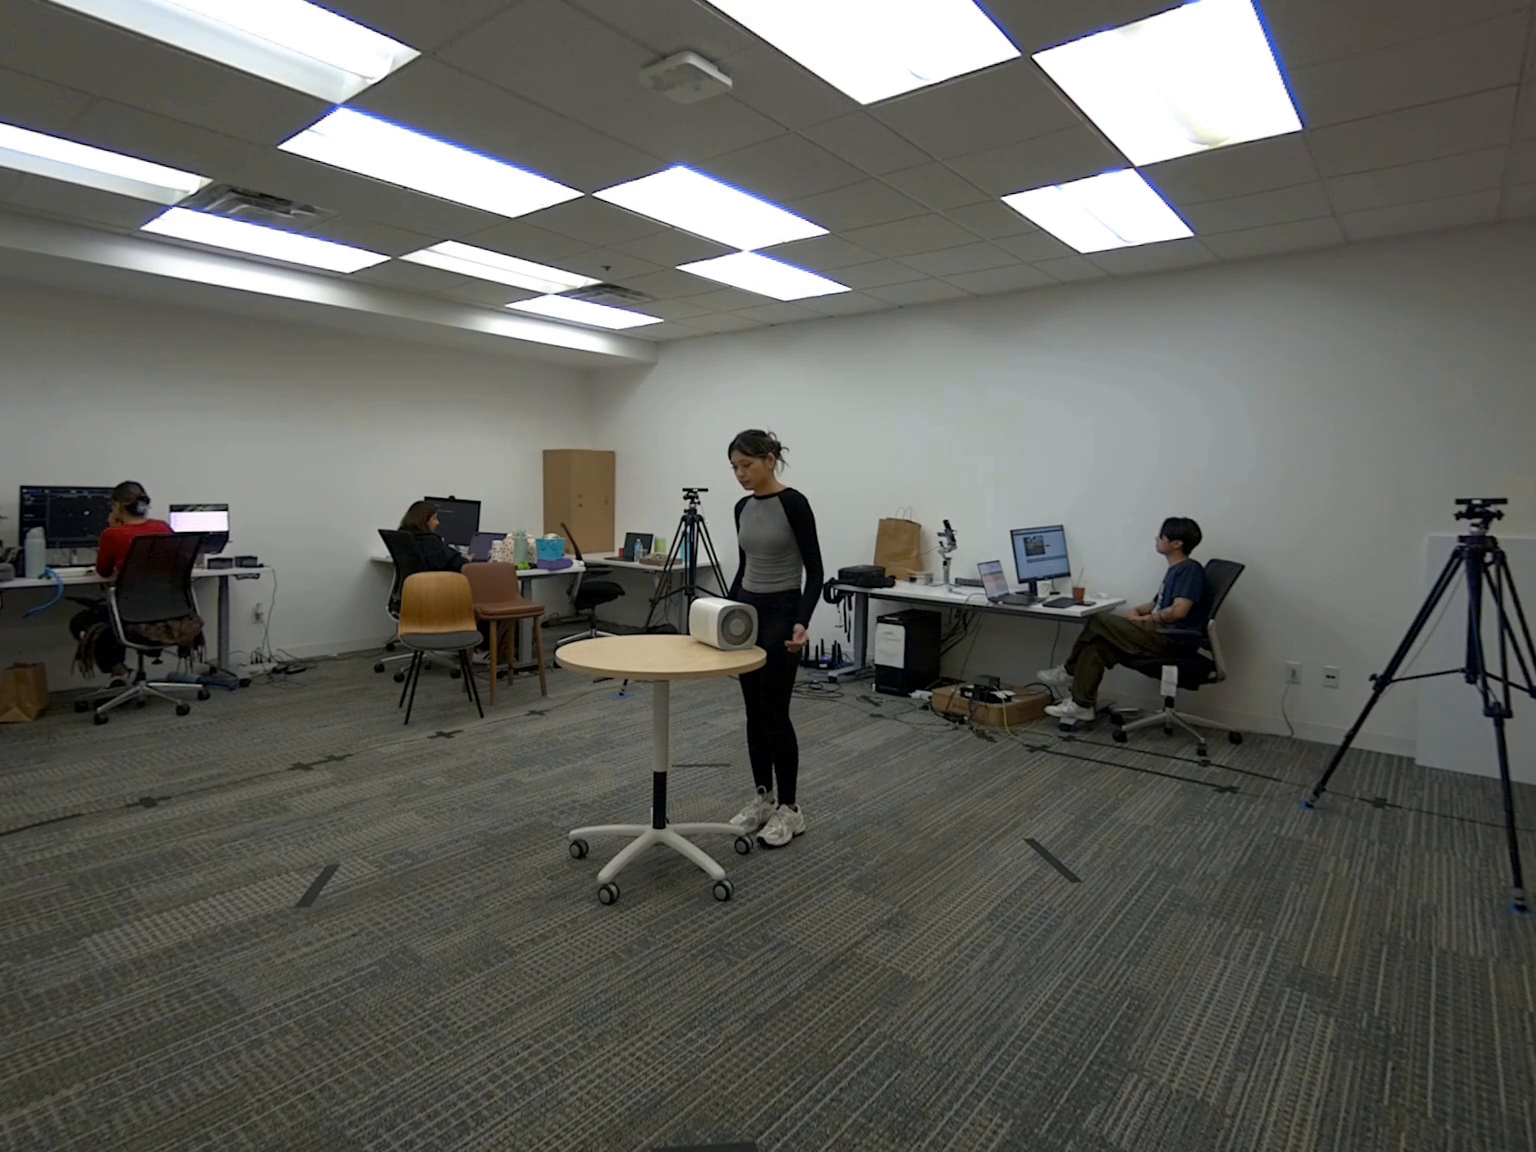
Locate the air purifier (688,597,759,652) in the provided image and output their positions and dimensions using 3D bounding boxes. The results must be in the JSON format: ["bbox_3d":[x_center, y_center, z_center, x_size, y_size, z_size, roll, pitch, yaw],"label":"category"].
[{"bbox_3d":[-0.191,0.175,3.265,0.166,0.171,0.273,-1,4,-29],"label":"air purifier"}]
